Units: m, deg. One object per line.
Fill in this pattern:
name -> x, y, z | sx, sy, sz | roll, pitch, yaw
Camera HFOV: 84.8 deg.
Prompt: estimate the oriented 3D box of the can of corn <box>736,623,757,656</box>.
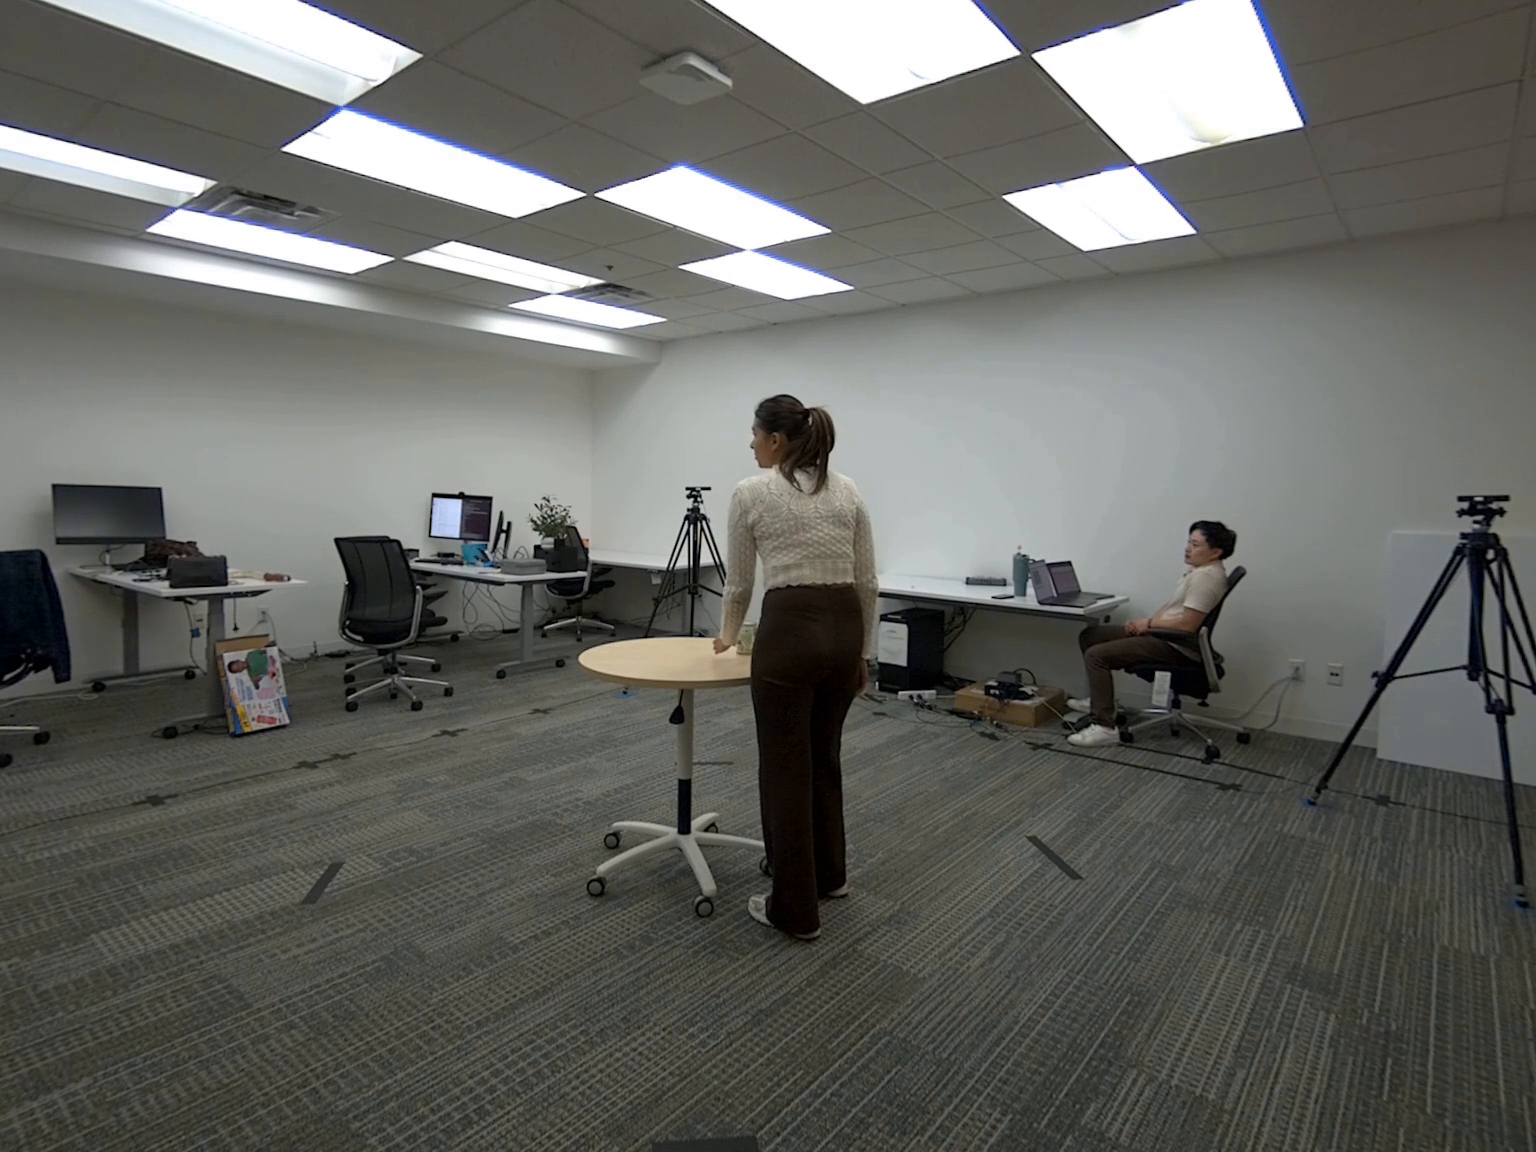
can of corn -> -0.089, 0.223, 3.112 | 0.074, 0.111, 0.074 | 1, 2, -2
